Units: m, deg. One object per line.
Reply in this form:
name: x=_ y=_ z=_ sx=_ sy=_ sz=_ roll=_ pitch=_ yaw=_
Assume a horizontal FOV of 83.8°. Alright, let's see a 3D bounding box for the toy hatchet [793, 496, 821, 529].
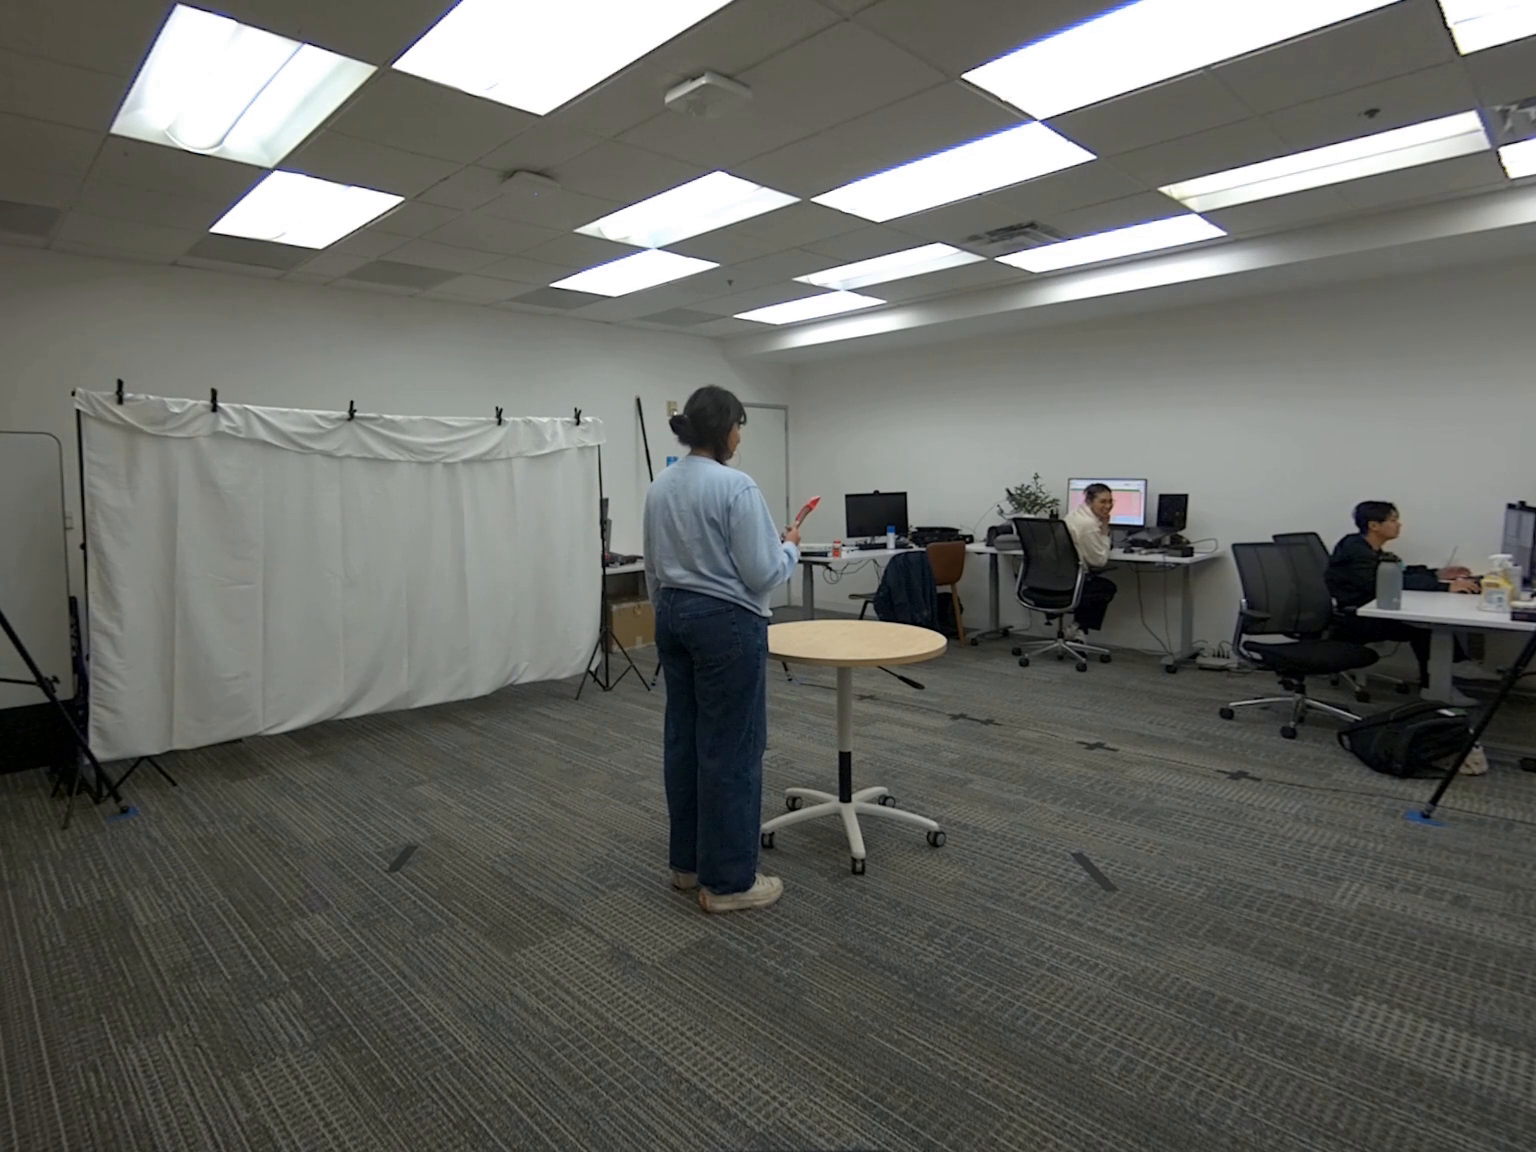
toy hatchet: x=0.101 y=-0.173 z=3.008 sx=0.029 sy=0.270 sz=0.132 roll=42 pitch=-23 yaw=-9
